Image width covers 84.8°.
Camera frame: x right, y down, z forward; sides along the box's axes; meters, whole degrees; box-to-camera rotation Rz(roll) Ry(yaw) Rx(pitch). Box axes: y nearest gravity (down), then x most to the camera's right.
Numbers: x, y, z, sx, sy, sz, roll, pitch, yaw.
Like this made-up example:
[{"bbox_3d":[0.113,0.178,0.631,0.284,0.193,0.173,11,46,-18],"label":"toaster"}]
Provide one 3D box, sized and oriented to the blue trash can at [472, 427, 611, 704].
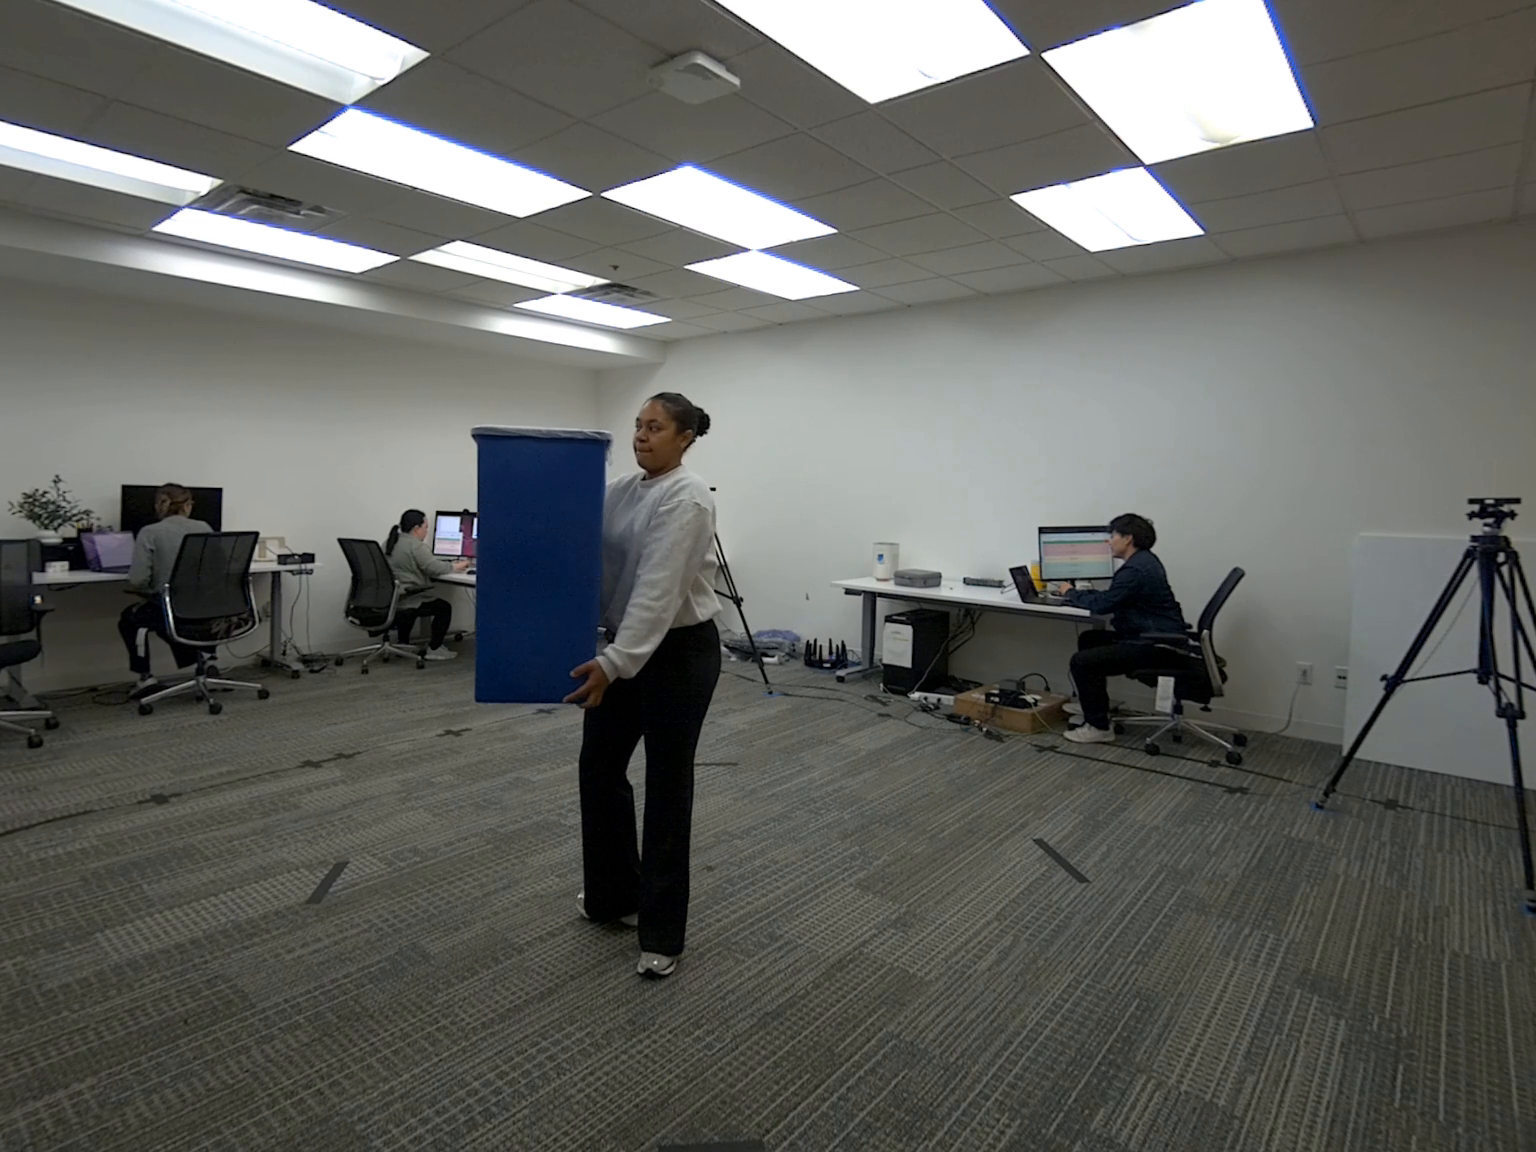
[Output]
[{"bbox_3d":[-0.640,-0.030,2.377,0.374,0.717,0.377,1,-4,-11],"label":"blue trash can"}]
